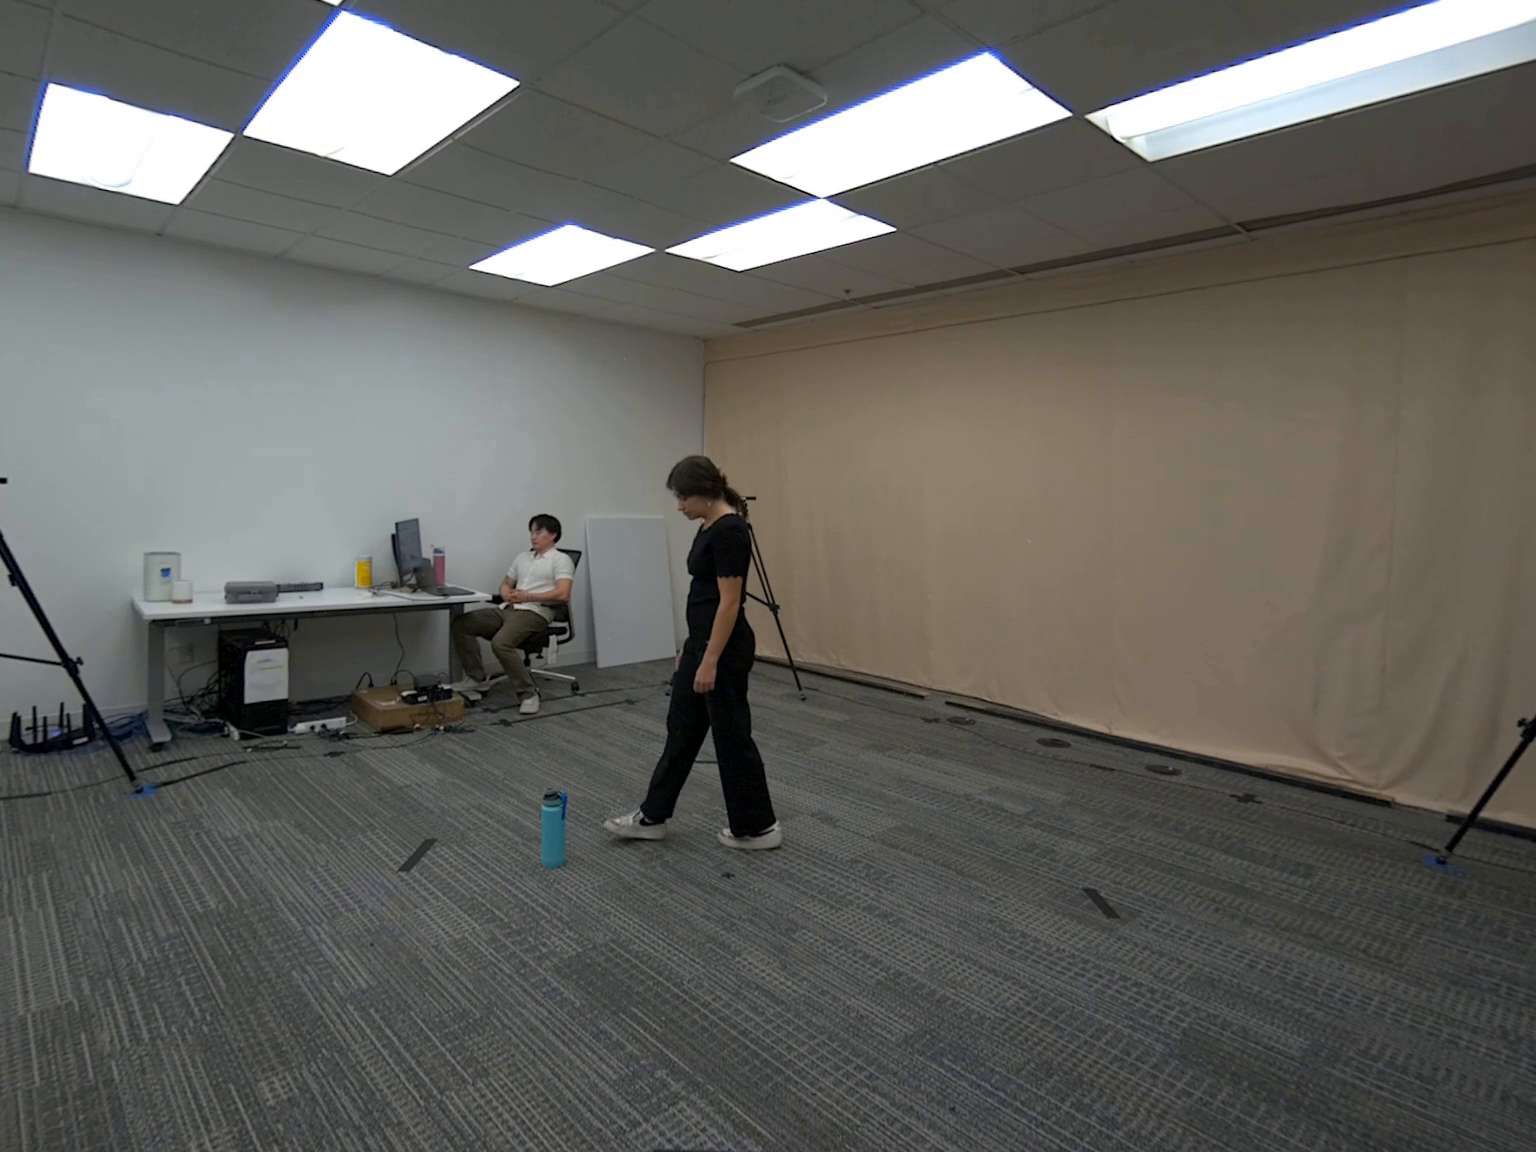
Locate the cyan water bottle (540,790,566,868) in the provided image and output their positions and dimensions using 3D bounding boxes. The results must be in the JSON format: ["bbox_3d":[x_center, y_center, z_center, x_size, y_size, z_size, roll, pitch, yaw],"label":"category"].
[{"bbox_3d":[-0.816,0.943,3.171,0.092,0.283,0.092,2,3,-1],"label":"cyan water bottle"}]
